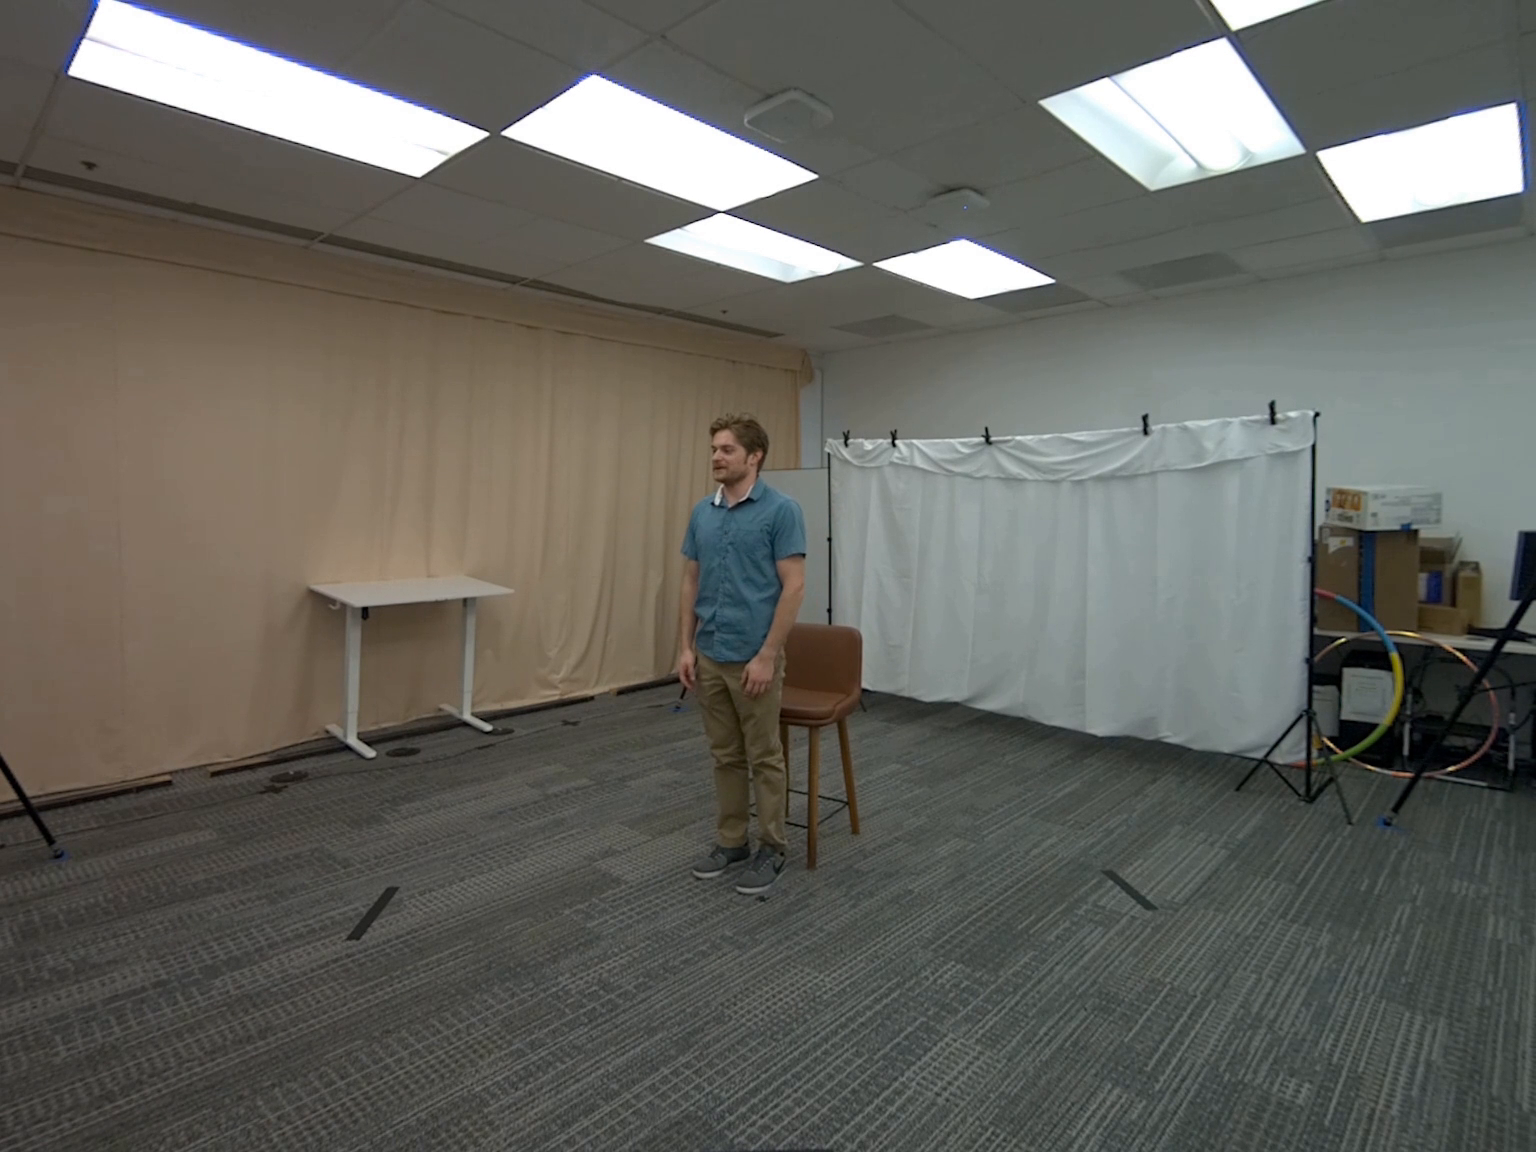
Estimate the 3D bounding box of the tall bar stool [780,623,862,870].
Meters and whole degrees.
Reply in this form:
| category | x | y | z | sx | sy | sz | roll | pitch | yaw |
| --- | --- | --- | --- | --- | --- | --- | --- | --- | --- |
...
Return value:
| category | x | y | z | sx | sy | sz | roll | pitch | yaw |
| --- | --- | --- | --- | --- | --- | --- | --- | --- | --- |
| tall bar stool | 0.129 | 0.666 | 3.489 | 0.470 | 0.889 | 0.454 | 3 | 2 | 33 |
